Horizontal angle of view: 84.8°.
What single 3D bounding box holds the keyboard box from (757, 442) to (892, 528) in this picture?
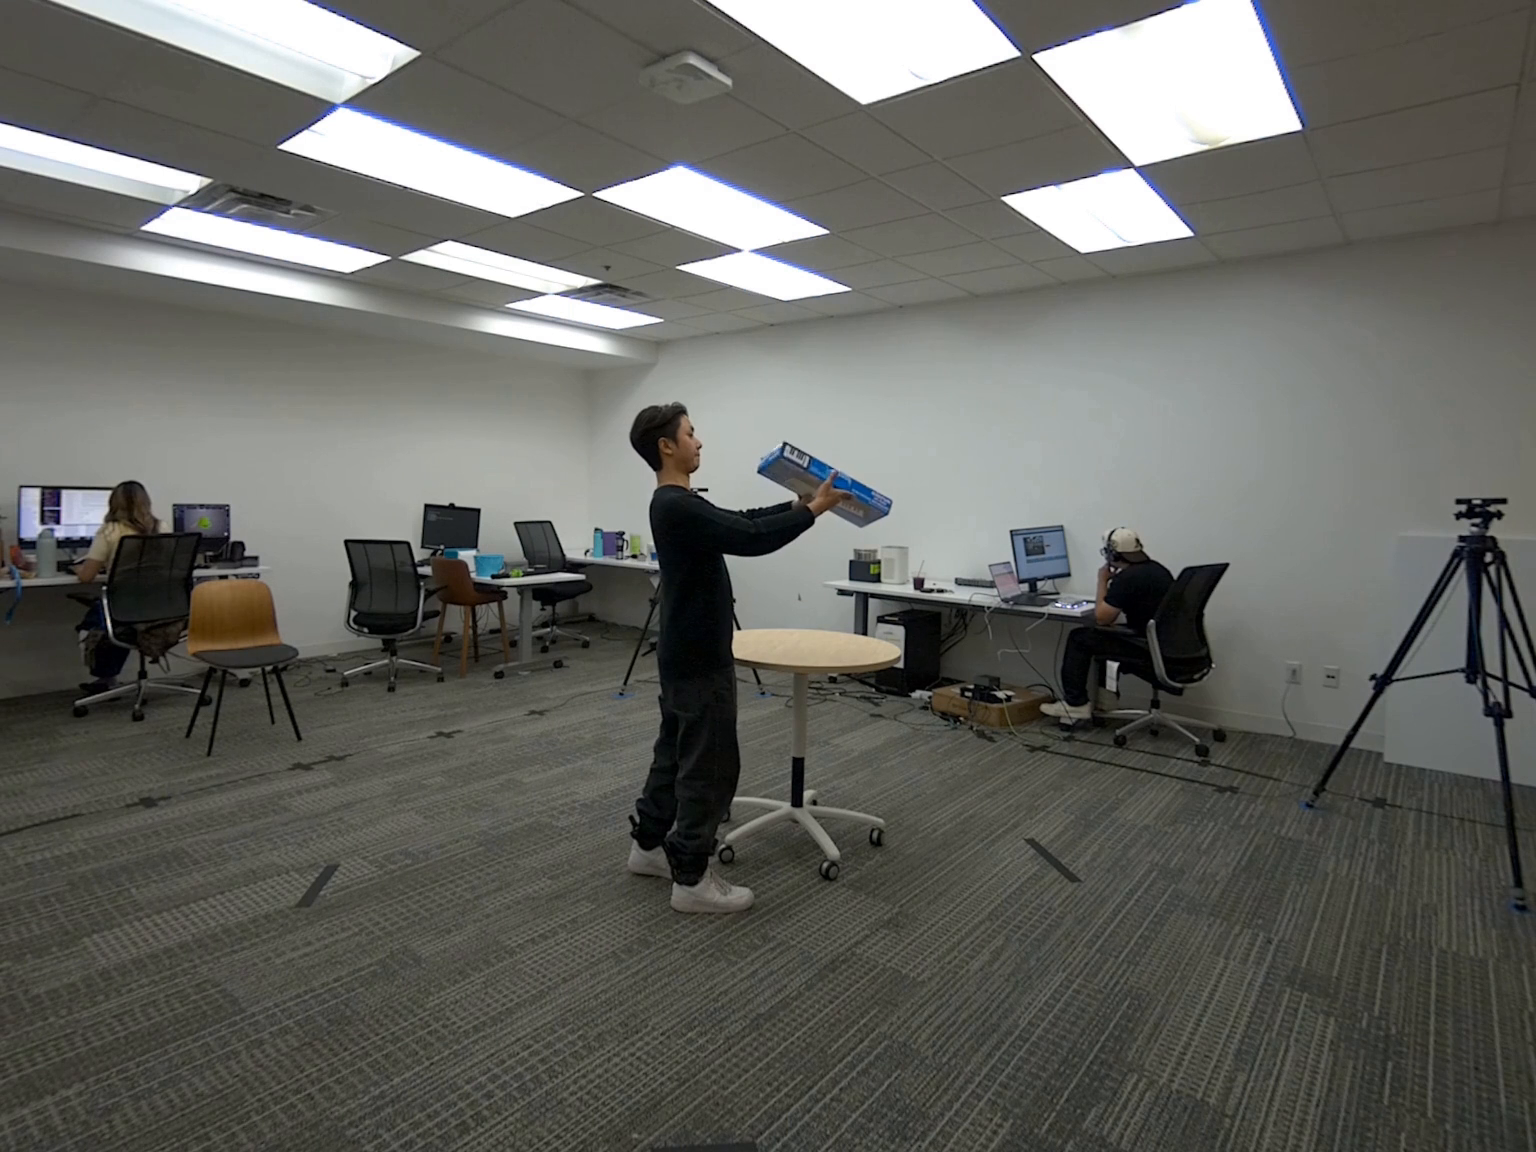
[{"bbox_3d":[0.181,-0.307,2.882,0.428,0.060,0.177,27,-24,-16],"label":"keyboard box"}]
